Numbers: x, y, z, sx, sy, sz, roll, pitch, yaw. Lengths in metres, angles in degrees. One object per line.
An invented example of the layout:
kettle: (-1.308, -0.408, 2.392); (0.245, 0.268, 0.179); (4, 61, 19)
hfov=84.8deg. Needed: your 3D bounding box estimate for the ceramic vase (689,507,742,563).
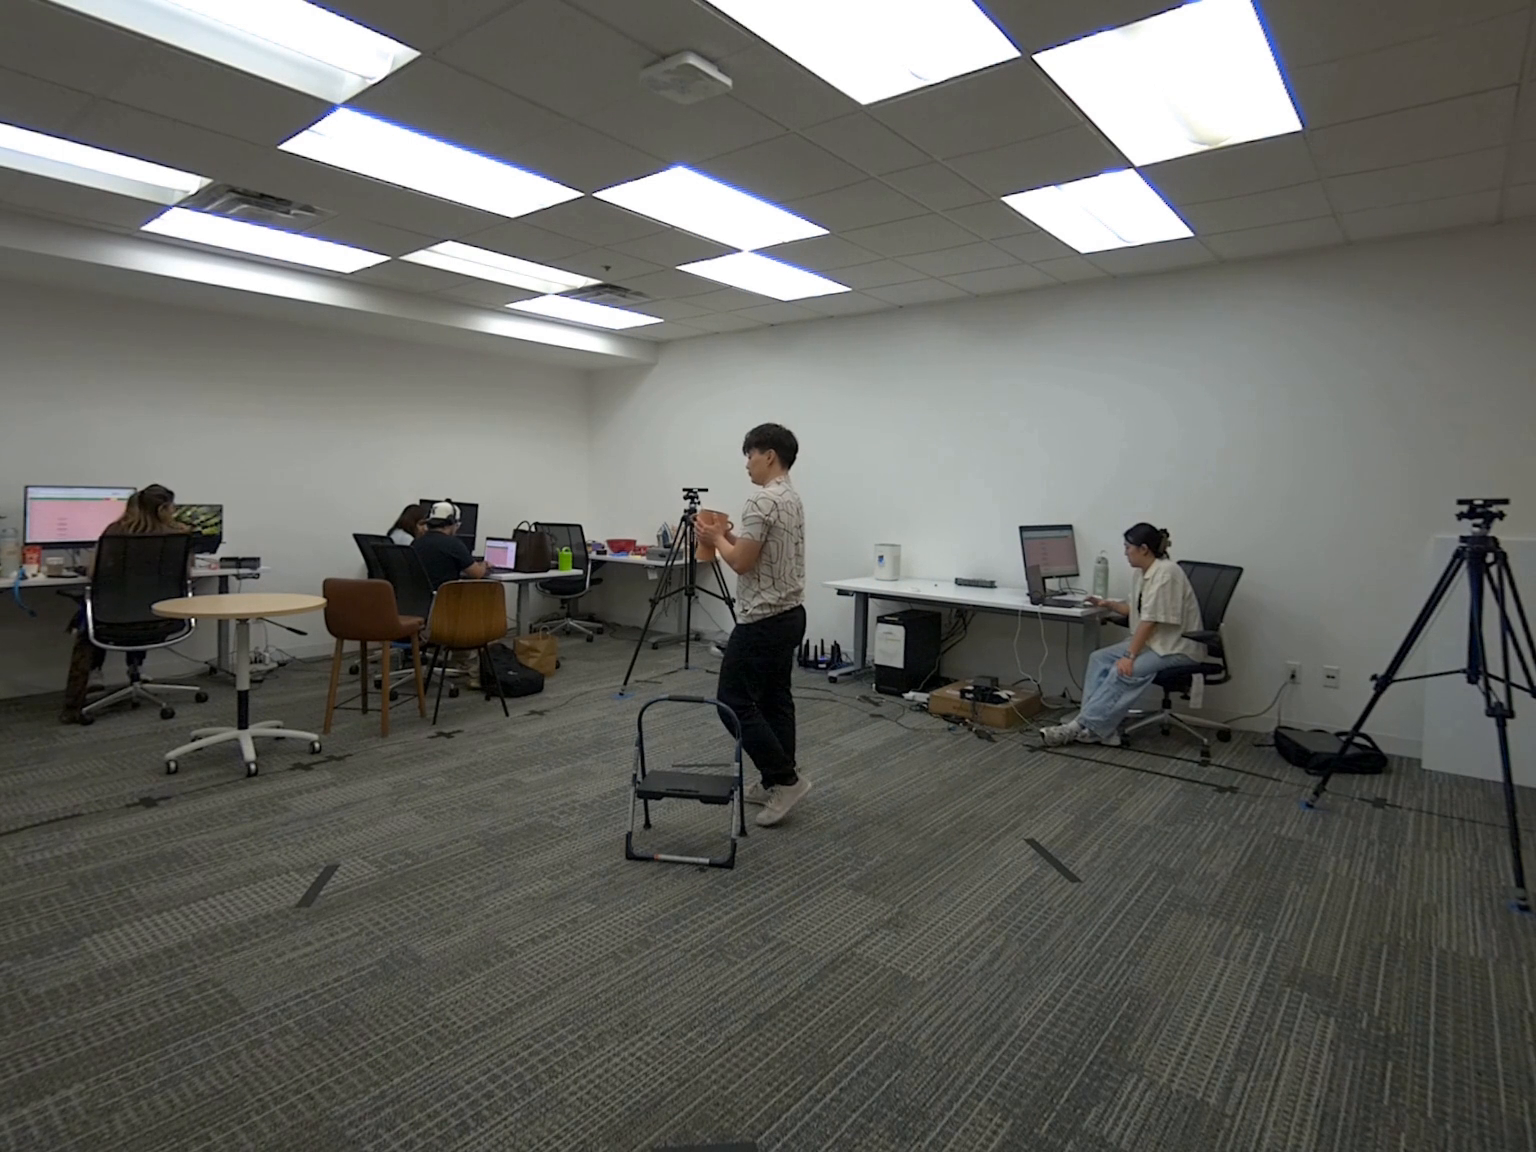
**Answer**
ceramic vase: (-0.239, -0.186, 3.790); (0.130, 0.219, 0.165); (2, 9, -44)
